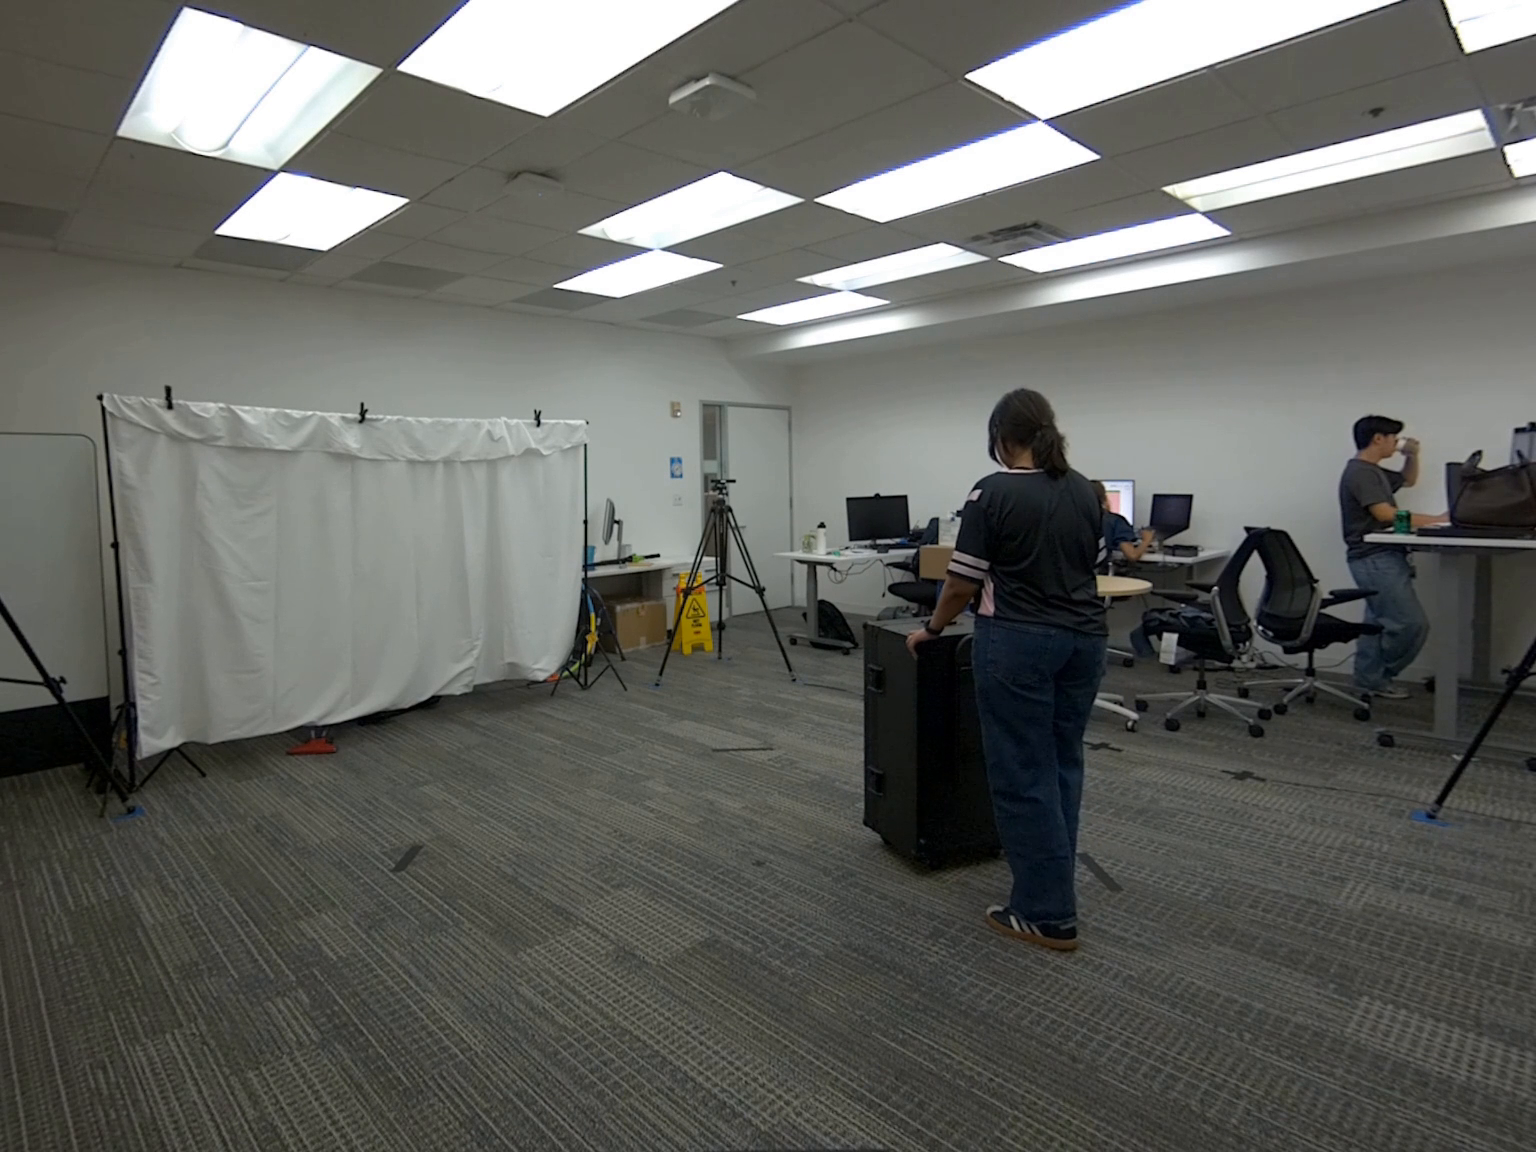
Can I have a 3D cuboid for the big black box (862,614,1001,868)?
[{"bbox_3d":[0.661,0.606,3.172,0.513,0.865,0.394,-3,5,-23],"label":"big black box"}]
